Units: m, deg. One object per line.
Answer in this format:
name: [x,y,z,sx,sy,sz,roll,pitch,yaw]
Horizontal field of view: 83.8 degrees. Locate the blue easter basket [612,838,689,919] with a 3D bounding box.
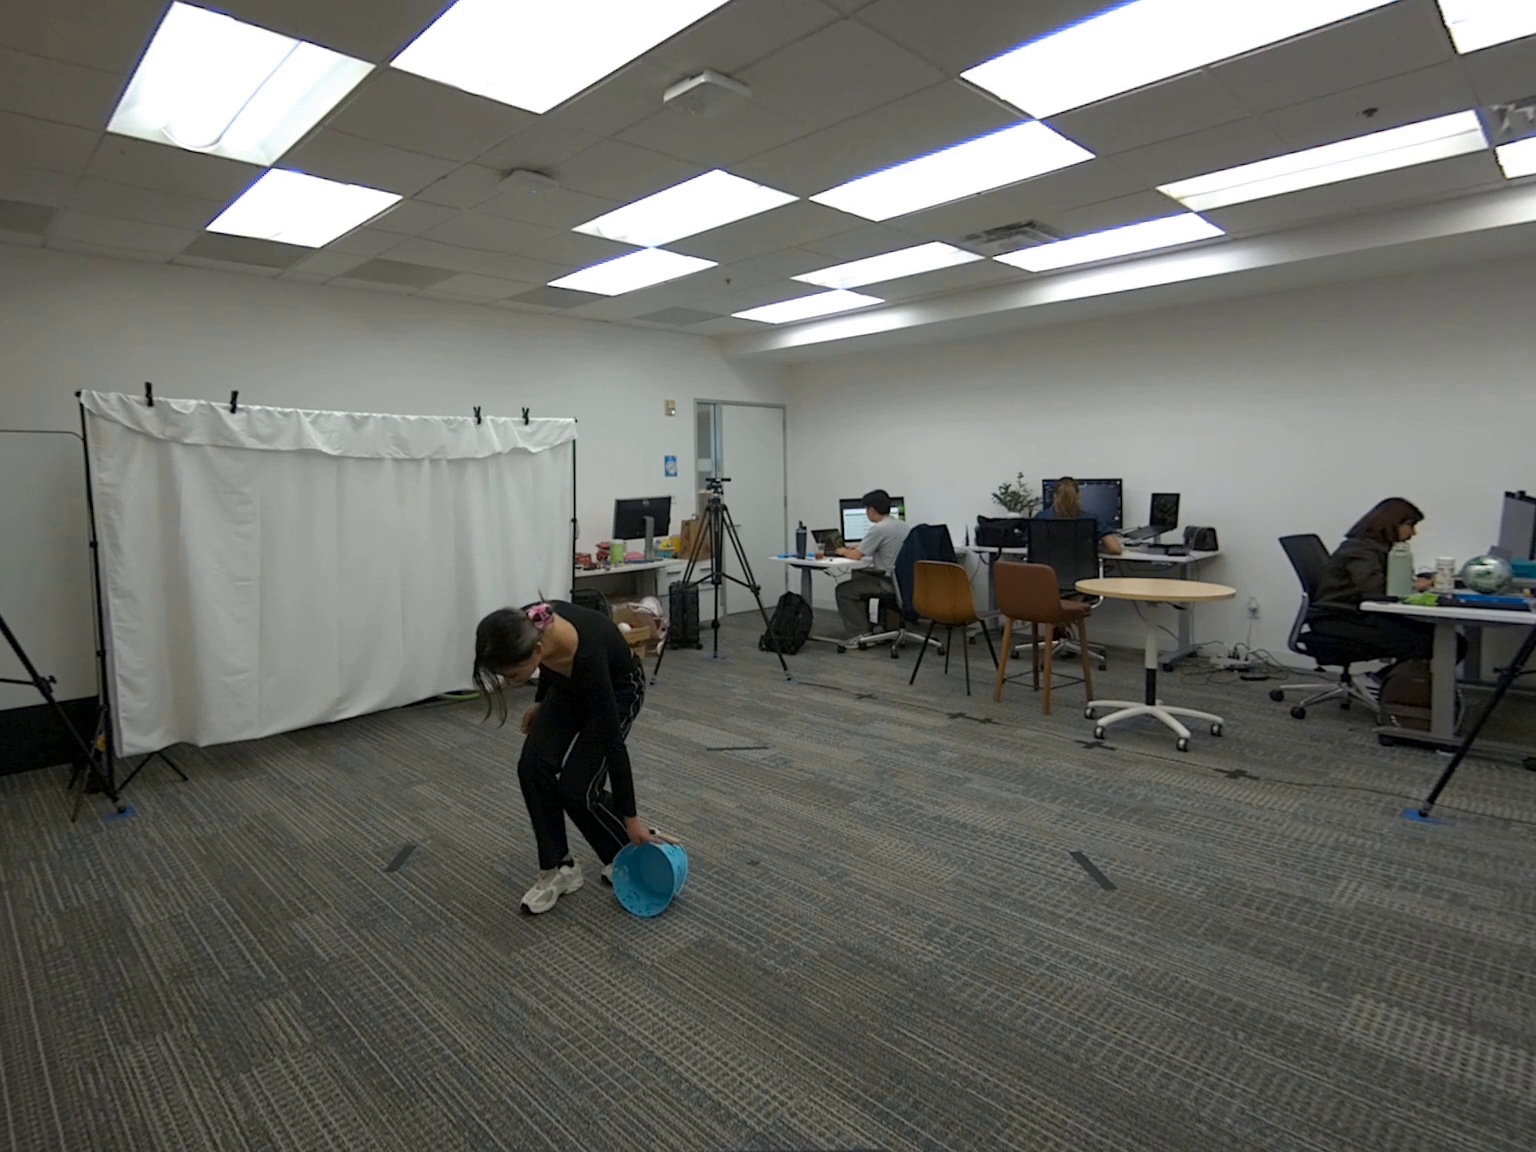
blue easter basket: [-0.375,0.973,2.815,0.249,0.244,0.152,1,-4,23]
